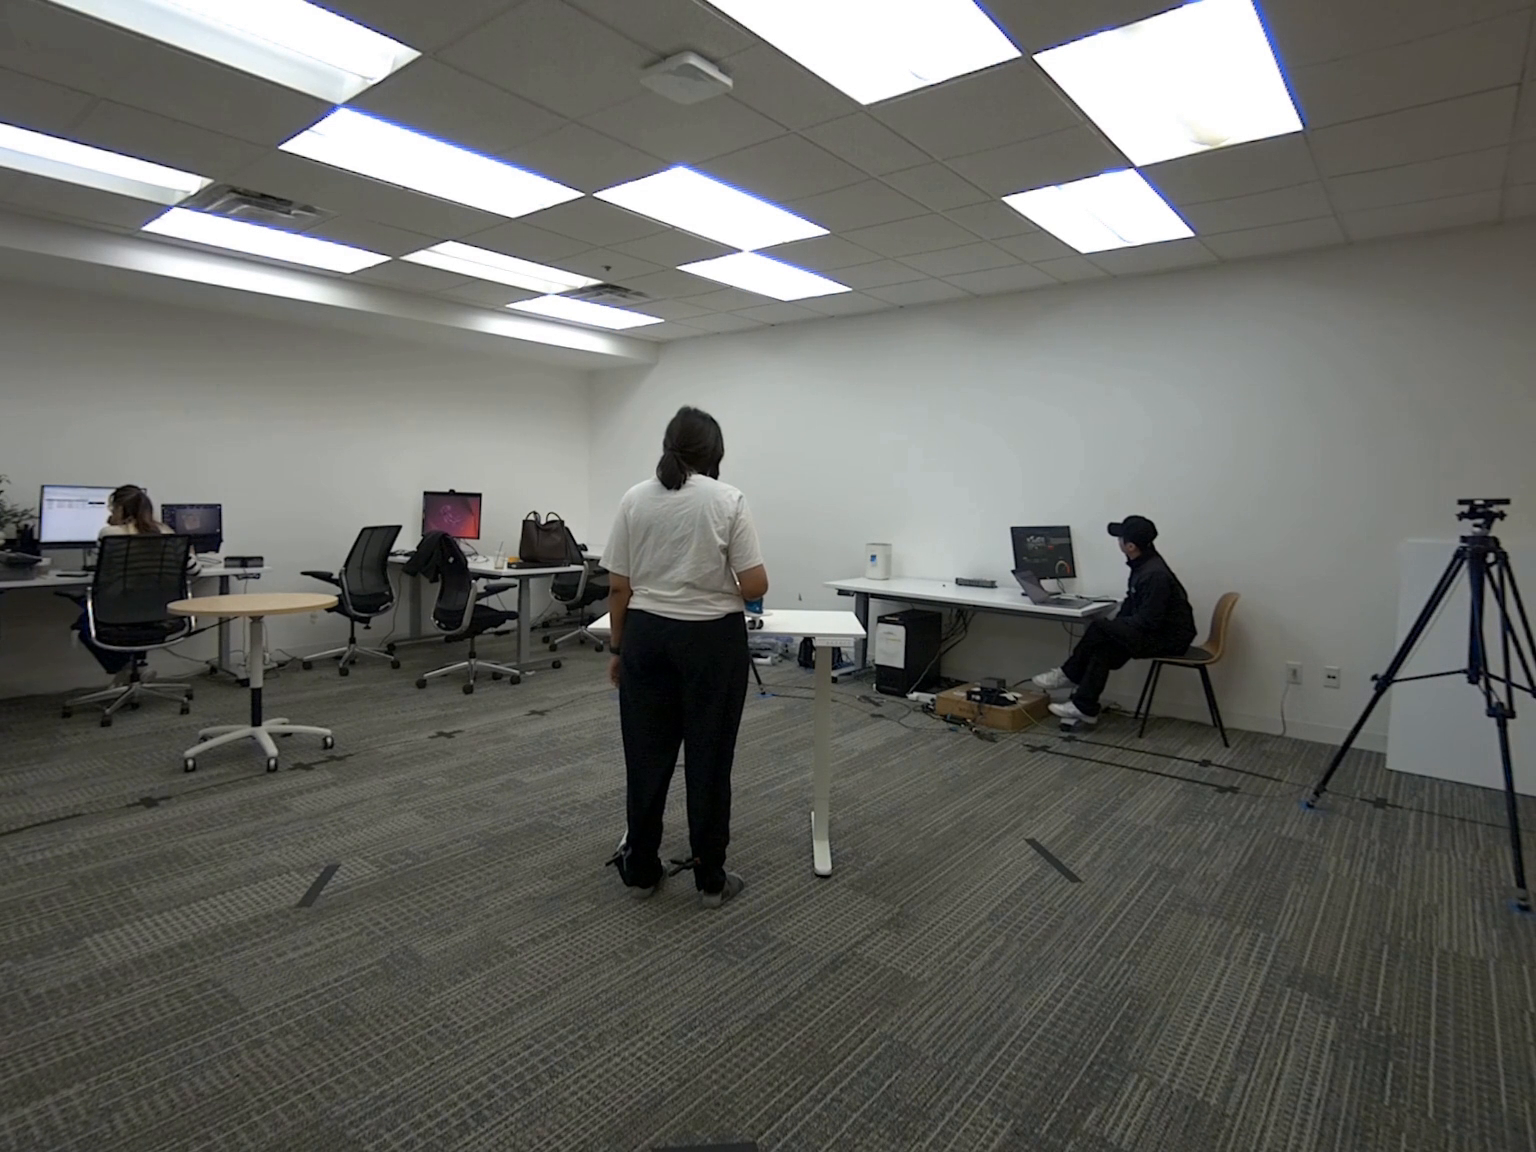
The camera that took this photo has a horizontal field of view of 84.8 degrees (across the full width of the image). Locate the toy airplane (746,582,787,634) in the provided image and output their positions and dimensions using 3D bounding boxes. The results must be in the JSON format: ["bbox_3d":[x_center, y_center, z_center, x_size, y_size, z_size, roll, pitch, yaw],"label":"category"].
[{"bbox_3d":[-0.103,0.107,3.169,0.266,0.156,0.245,3,5,26],"label":"toy airplane"}]
